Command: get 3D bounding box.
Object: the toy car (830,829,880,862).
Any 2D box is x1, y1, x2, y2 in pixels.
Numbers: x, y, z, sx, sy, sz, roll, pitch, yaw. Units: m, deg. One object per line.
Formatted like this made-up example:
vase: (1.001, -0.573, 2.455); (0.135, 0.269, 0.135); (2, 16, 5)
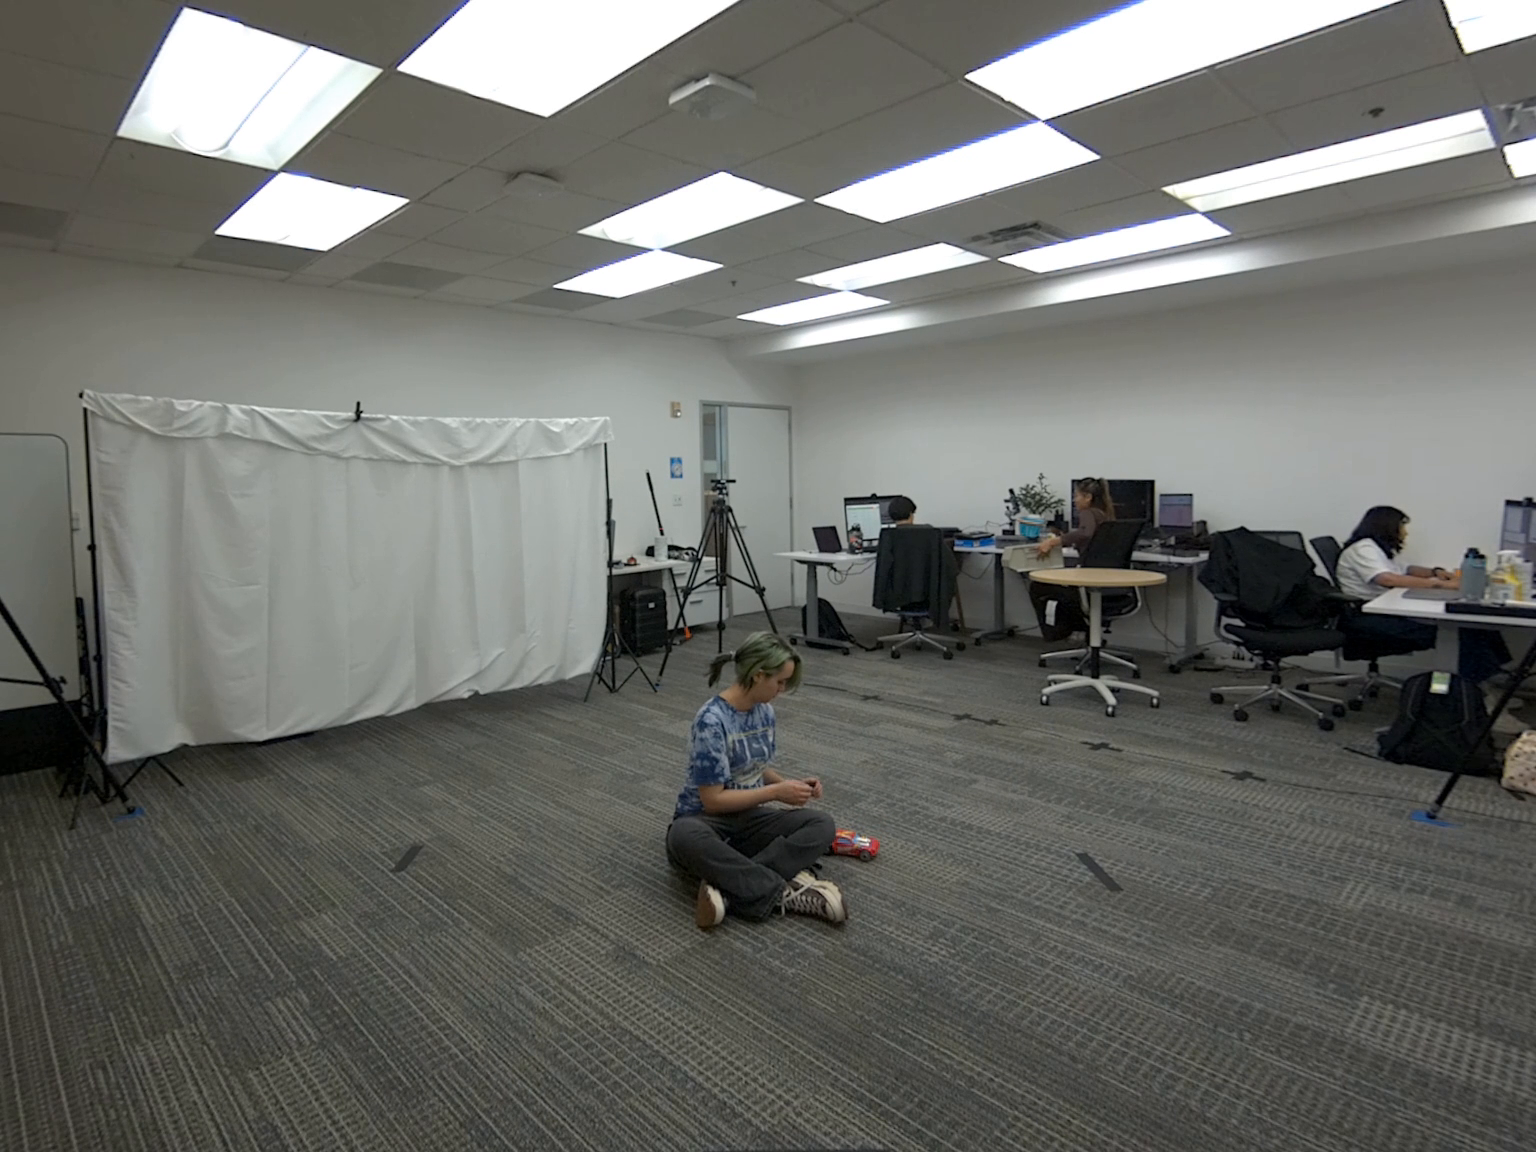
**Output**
toy car: (0.282, 0.992, 3.194); (0.261, 0.082, 0.128); (13, 10, 22)
